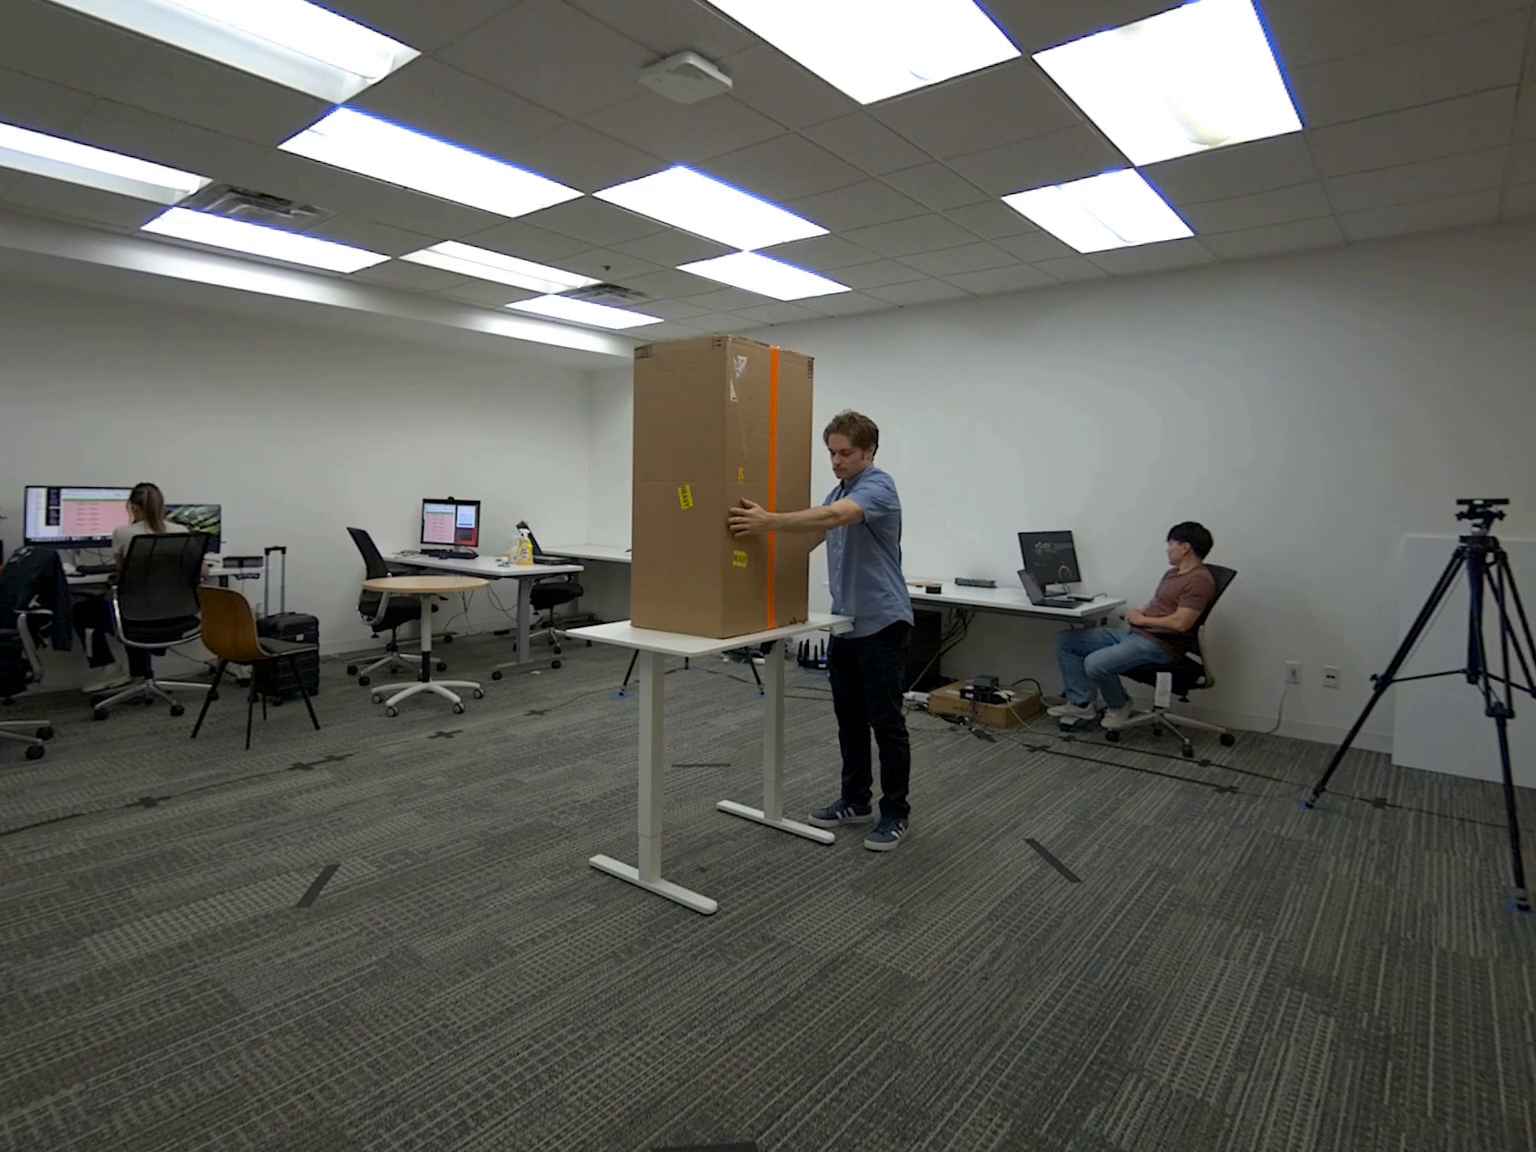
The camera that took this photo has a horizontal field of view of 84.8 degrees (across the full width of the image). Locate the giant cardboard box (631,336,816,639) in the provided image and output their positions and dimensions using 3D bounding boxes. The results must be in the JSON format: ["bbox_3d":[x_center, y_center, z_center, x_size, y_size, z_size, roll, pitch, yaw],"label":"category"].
[{"bbox_3d":[-0.168,-0.327,3.189,0.440,1.023,0.561,3,3,36],"label":"giant cardboard box"}]
